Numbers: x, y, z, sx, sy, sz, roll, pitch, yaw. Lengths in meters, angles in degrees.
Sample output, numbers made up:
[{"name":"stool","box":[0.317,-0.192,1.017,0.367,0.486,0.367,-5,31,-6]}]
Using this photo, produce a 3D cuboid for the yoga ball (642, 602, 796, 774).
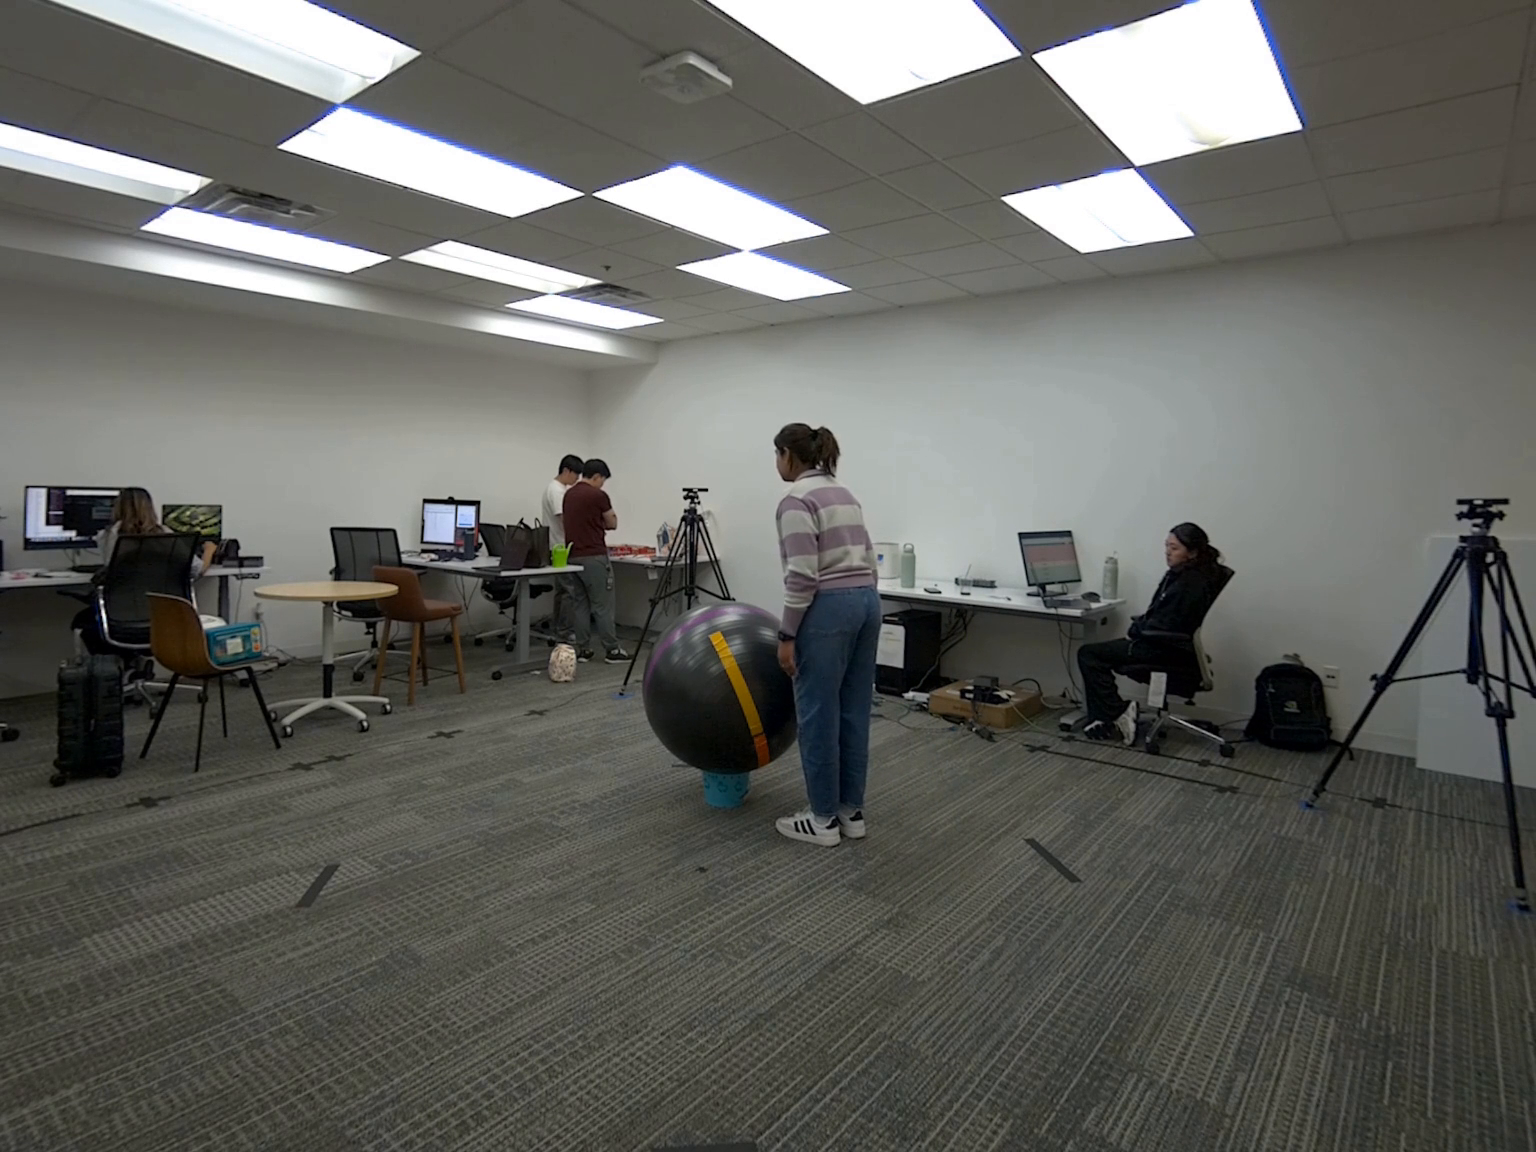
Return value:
[{"name":"yoga ball","box":[-0.198,0.496,3.799,0.757,0.756,0.761,1,4,-2]}]
